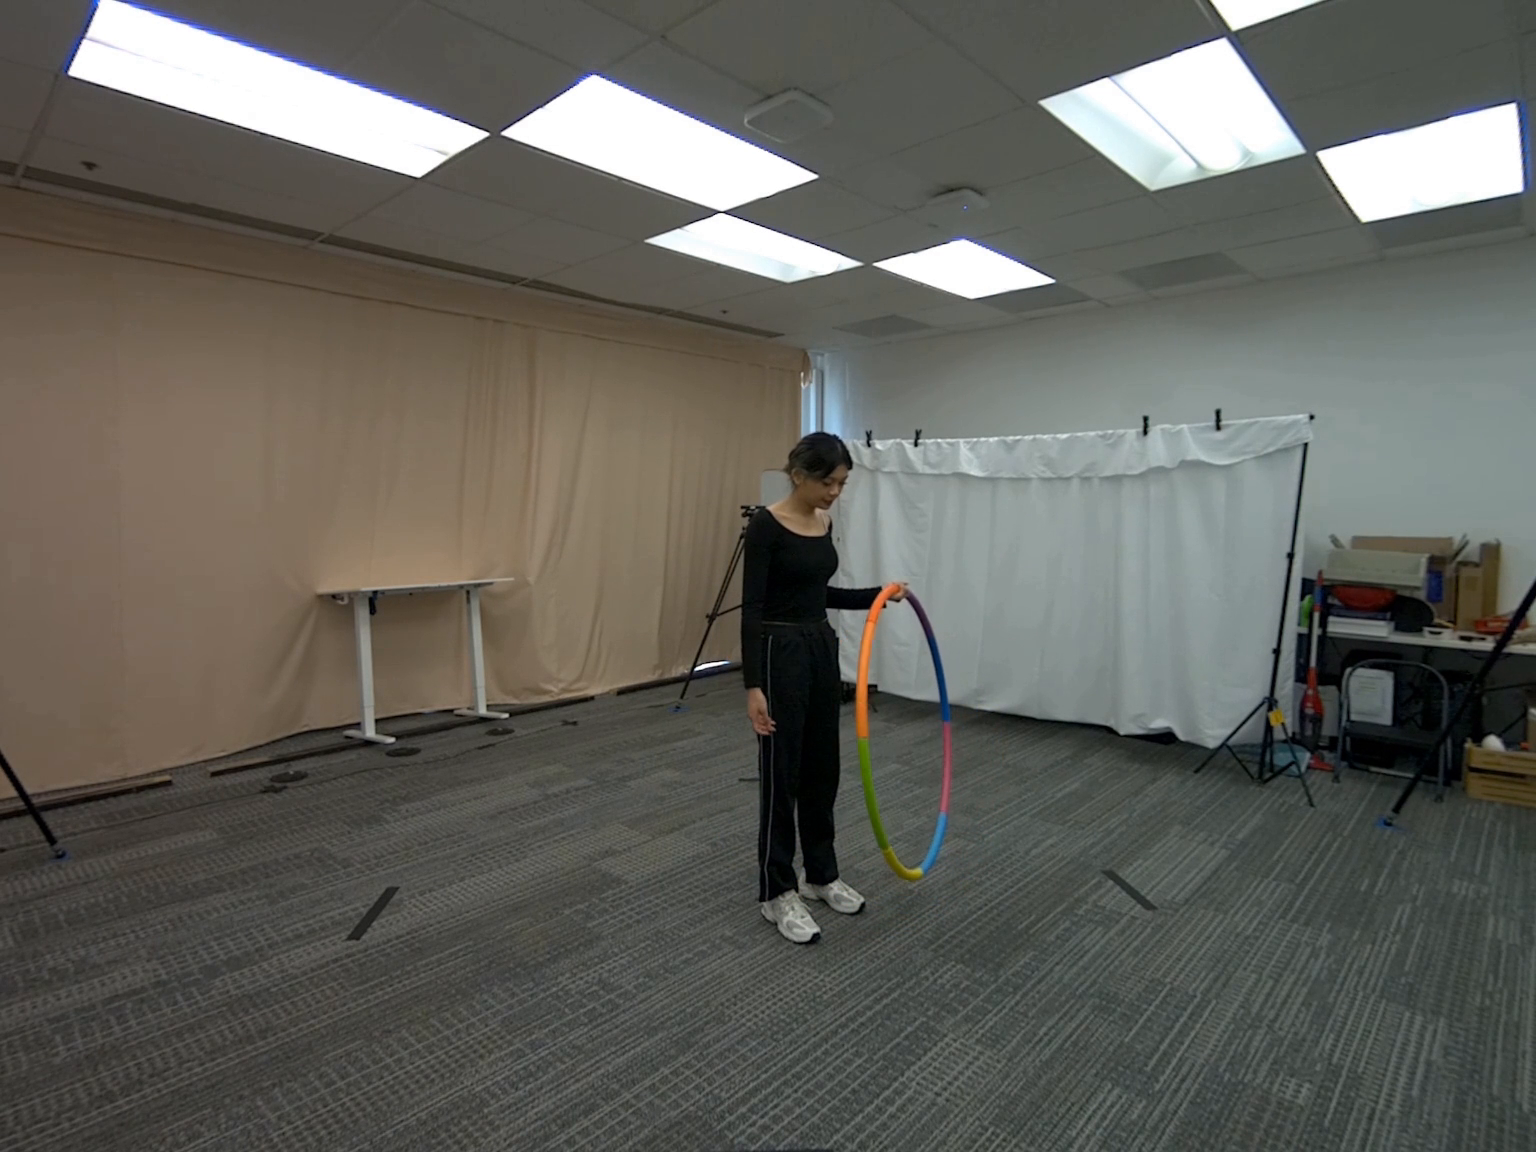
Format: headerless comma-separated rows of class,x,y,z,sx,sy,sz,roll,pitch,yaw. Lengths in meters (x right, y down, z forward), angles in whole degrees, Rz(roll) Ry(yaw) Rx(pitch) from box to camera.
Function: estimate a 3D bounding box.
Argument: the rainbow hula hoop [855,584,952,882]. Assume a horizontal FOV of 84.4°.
rainbow hula hoop,0.502,0.534,2.927,0.036,0.979,0.954,-7,0,27
